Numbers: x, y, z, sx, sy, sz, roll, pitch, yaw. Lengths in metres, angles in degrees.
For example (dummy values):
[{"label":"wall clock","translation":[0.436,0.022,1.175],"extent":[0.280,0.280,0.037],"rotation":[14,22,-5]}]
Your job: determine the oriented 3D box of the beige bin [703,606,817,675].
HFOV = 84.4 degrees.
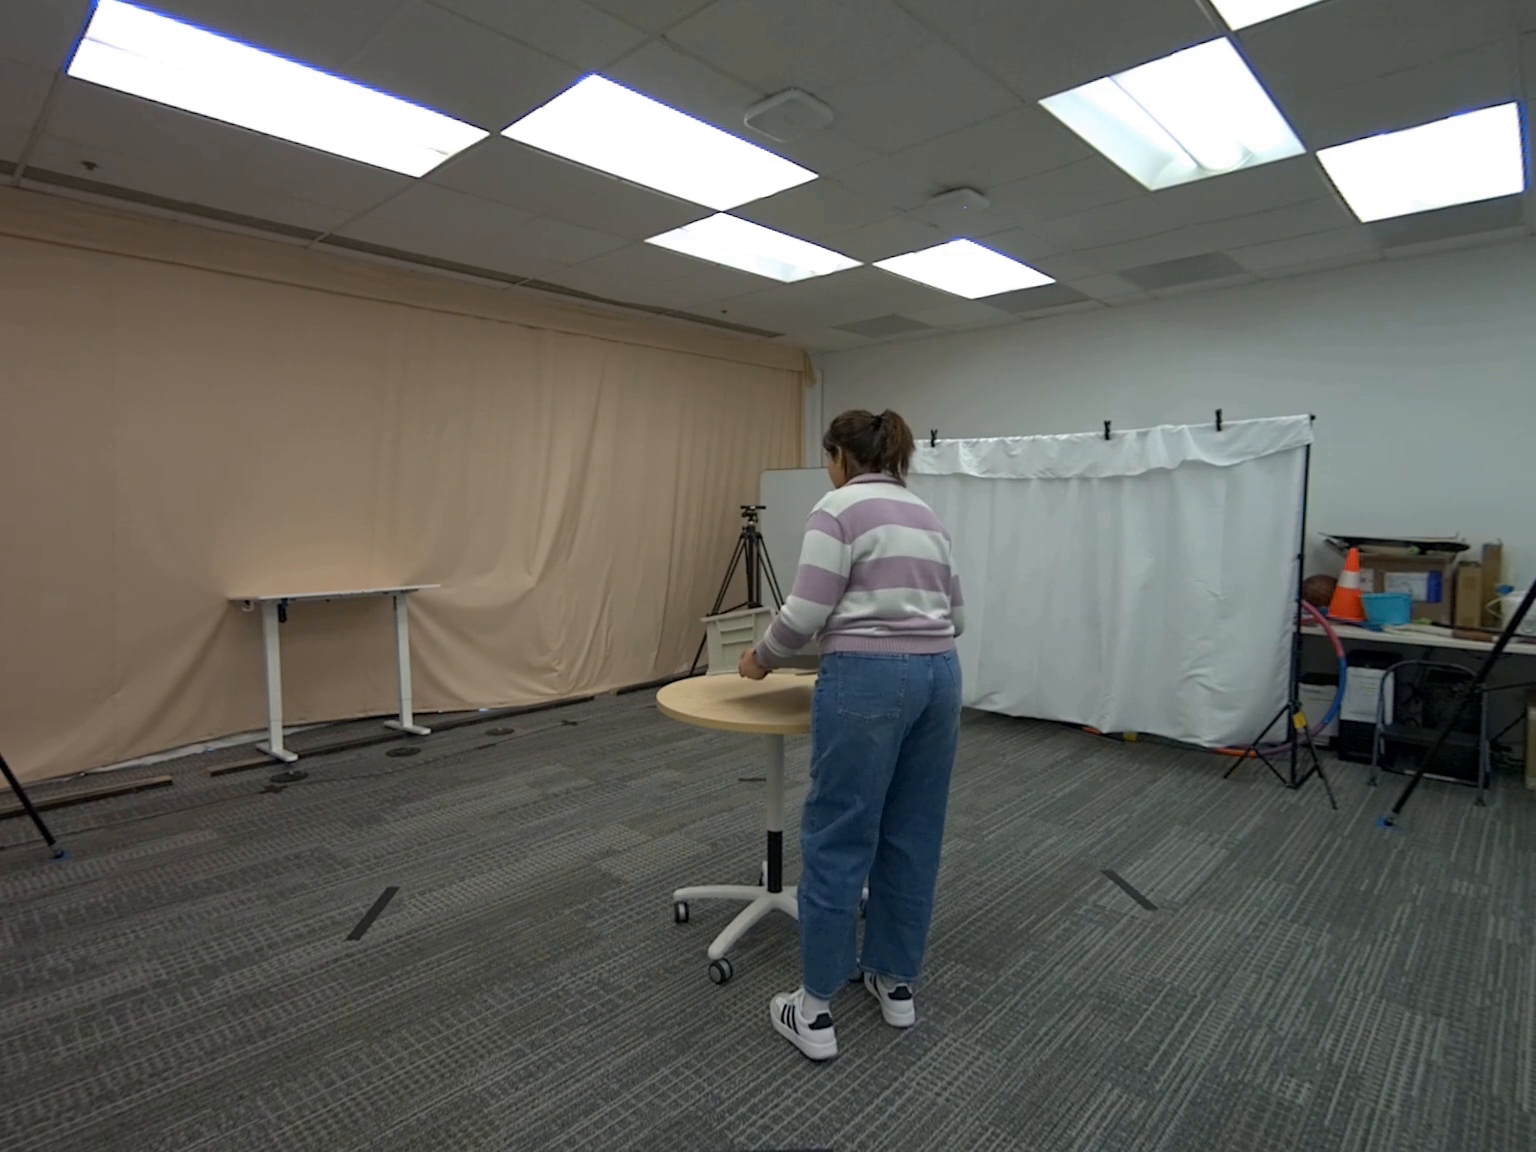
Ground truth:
[{"label":"beige bin","translation":[0.071,0.213,2.625],"extent":[0.408,0.190,0.387],"rotation":[5,-13,-39]}]
